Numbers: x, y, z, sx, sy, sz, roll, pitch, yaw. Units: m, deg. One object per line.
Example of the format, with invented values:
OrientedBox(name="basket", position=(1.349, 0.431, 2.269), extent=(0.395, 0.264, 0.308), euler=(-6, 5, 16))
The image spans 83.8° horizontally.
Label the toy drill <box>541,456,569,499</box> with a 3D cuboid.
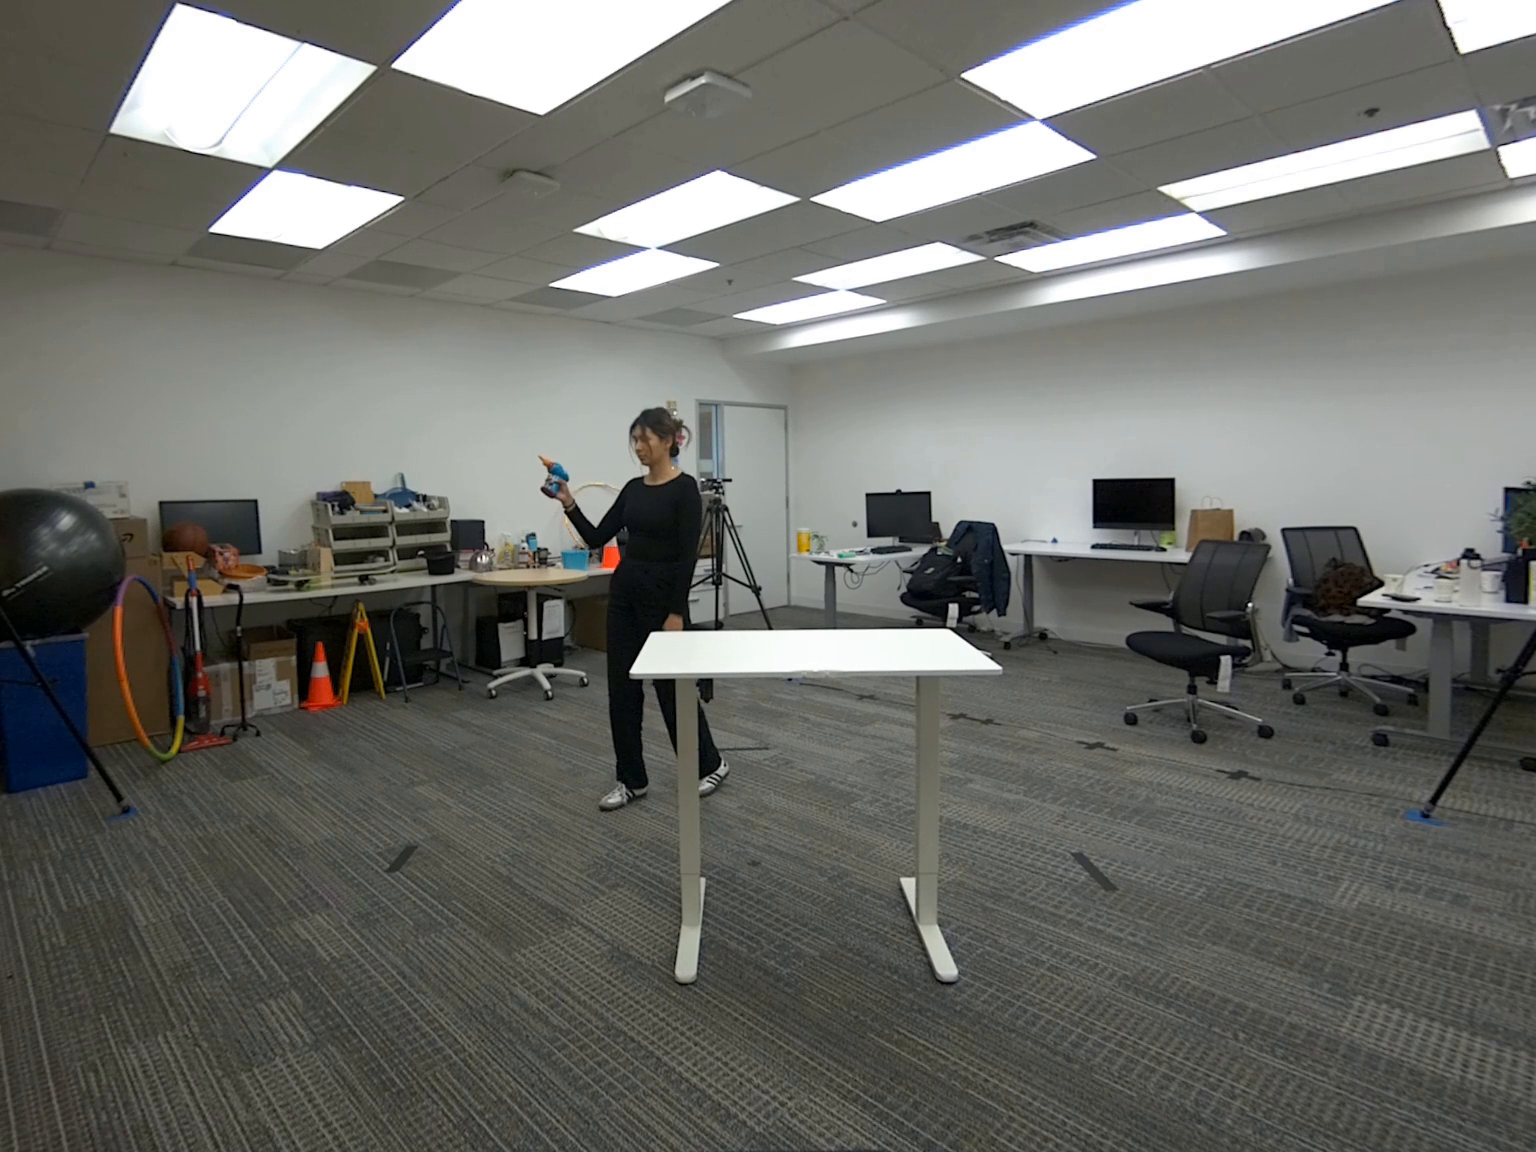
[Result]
OrientedBox(name="toy drill", position=(-0.926, -0.429, 3.619), extent=(0.062, 0.148, 0.164), euler=(-14, -49, 43))
